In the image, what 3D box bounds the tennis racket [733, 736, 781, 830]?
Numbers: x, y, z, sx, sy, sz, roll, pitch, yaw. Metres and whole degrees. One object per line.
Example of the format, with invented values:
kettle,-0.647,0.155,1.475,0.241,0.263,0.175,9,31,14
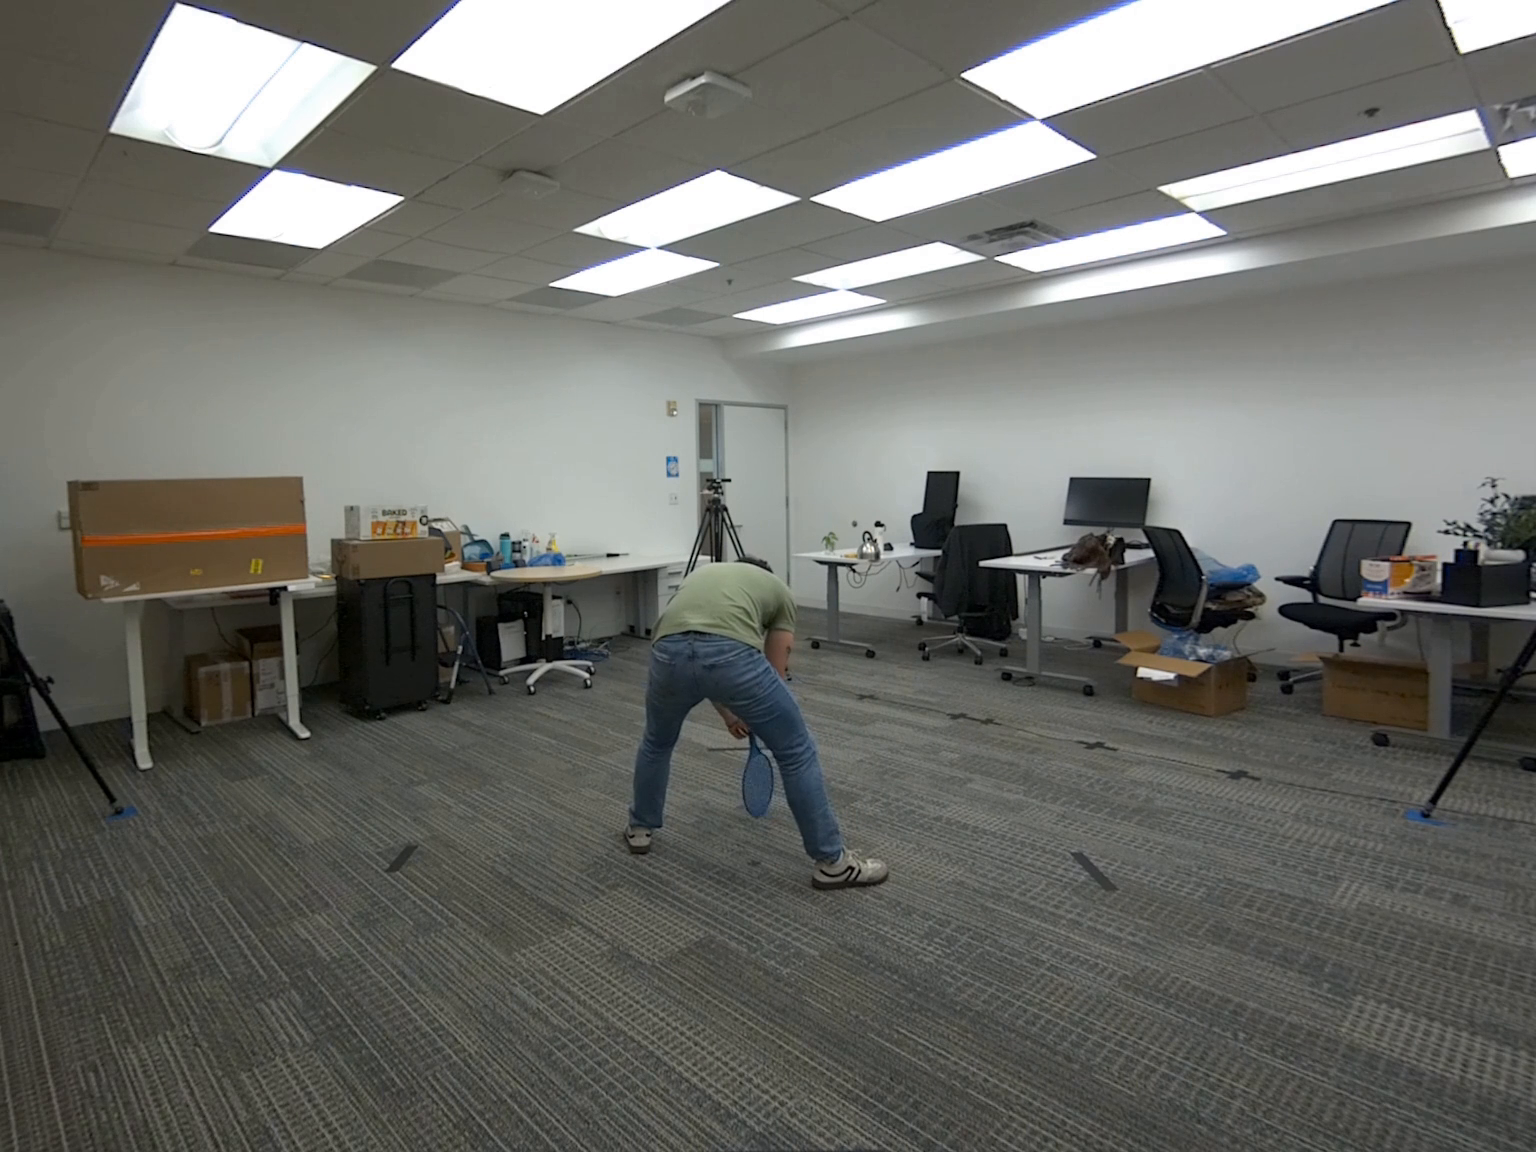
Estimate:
tennis racket,-0.046,0.784,3.516,0.032,0.427,0.210,0,15,34
